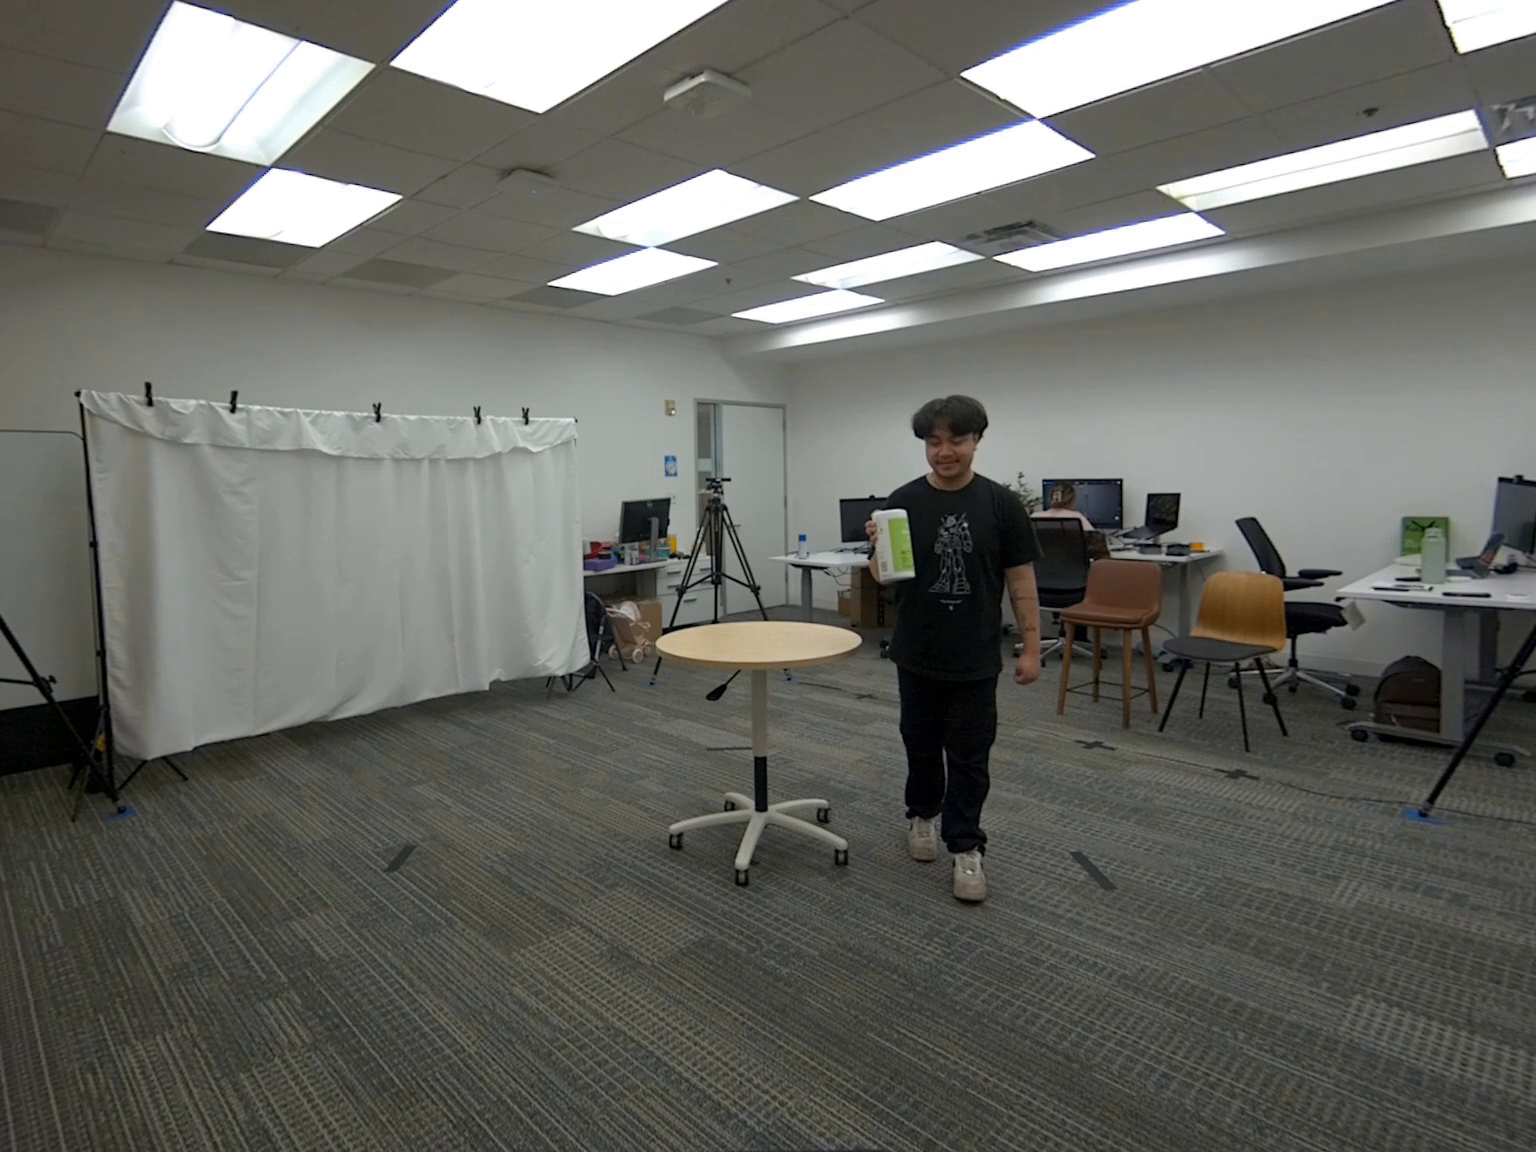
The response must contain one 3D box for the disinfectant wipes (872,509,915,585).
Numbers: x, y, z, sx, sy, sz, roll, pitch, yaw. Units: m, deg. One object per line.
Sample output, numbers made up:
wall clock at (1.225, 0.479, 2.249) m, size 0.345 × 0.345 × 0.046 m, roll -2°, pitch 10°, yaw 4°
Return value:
disinfectant wipes at (0.379, -0.092, 2.680) m, size 0.117 × 0.219 × 0.117 m, roll -5°, pitch -7°, yaw -2°
